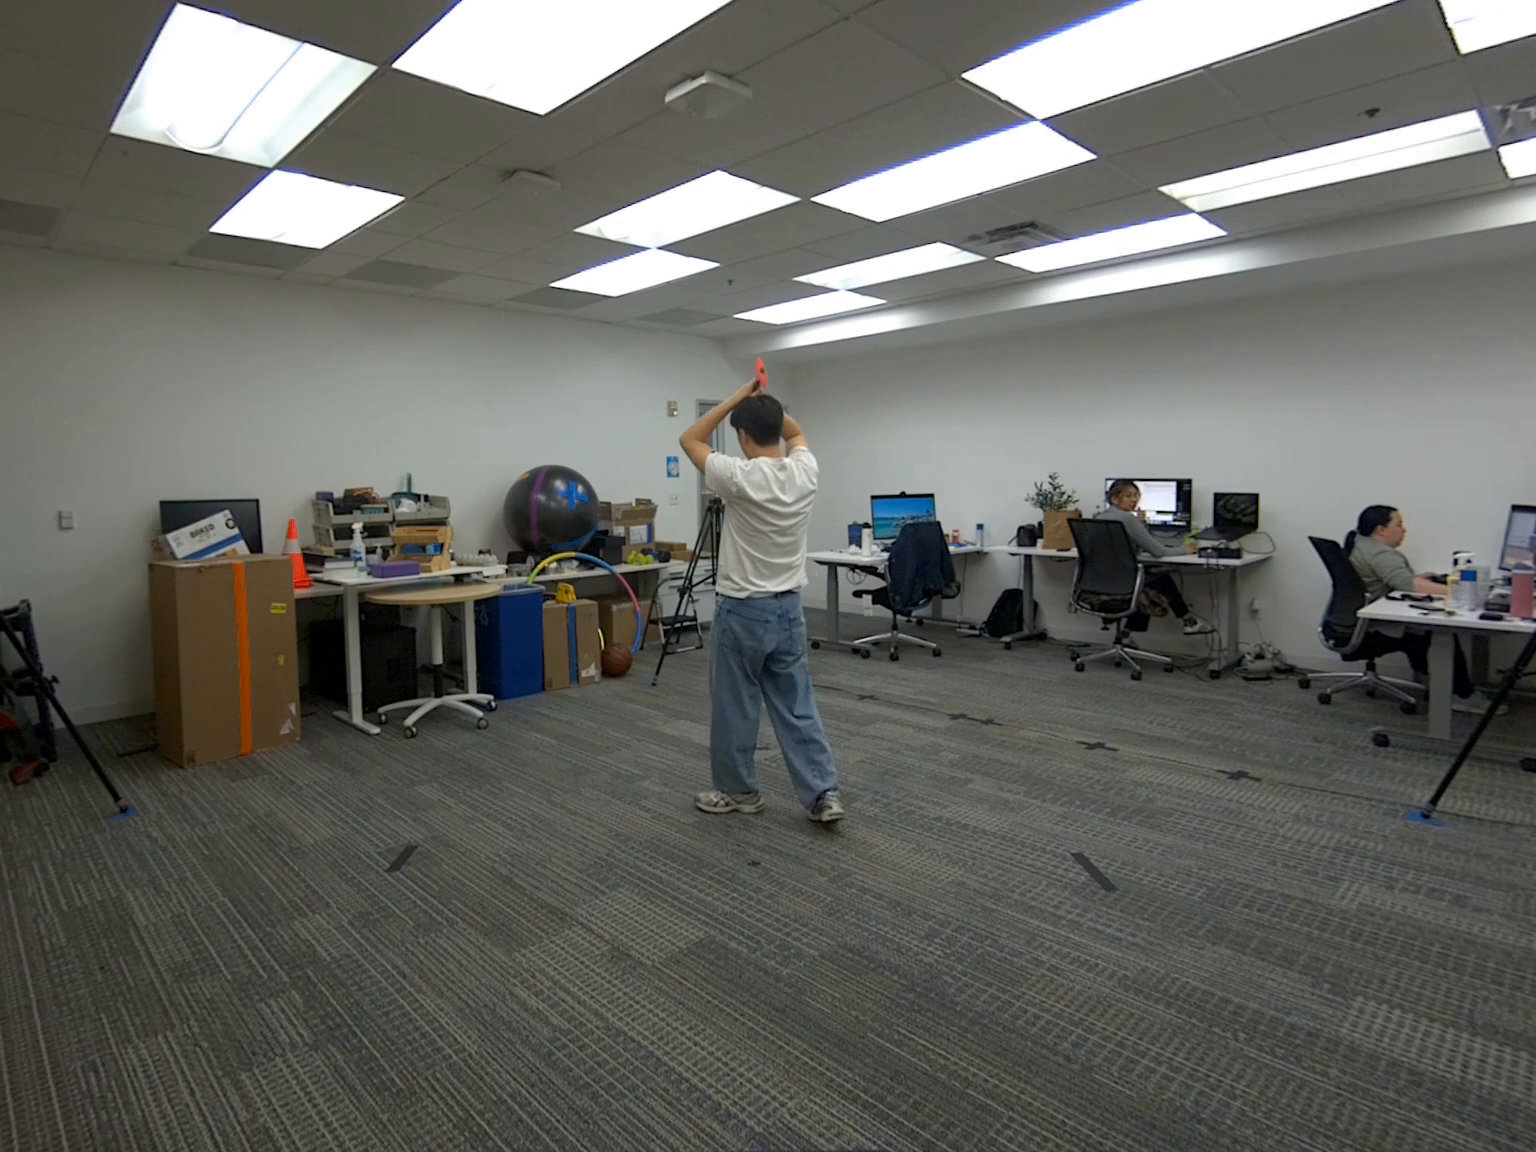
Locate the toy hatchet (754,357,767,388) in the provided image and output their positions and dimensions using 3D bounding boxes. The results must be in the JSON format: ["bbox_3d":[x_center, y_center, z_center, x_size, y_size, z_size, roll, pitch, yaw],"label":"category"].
[{"bbox_3d":[-0.037,-0.797,3.426,0.029,0.130,0.272,-10,5,-8],"label":"toy hatchet"}]
